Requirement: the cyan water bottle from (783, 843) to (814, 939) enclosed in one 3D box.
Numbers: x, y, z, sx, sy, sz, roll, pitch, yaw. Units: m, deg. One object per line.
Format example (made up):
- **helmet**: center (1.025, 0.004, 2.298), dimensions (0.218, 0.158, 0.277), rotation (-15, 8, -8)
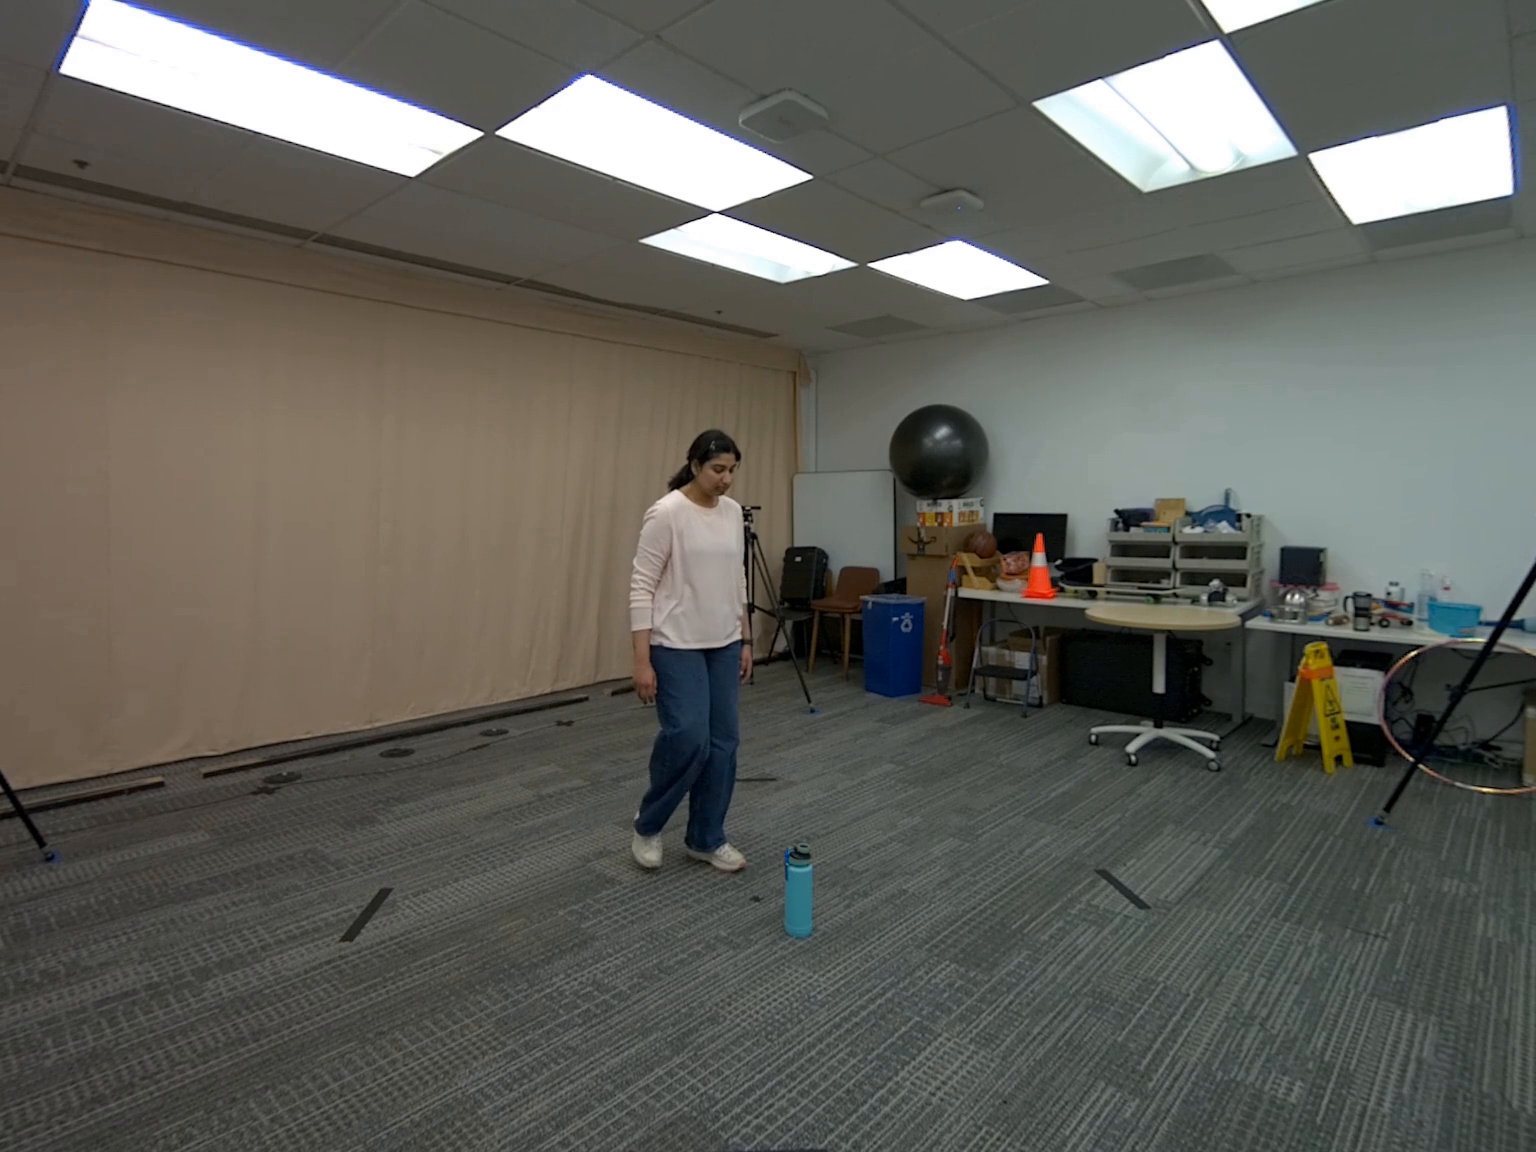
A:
- **cyan water bottle**: center (0.105, 1.023, 2.751), dimensions (0.092, 0.283, 0.092), rotation (-1, 3, -2)
